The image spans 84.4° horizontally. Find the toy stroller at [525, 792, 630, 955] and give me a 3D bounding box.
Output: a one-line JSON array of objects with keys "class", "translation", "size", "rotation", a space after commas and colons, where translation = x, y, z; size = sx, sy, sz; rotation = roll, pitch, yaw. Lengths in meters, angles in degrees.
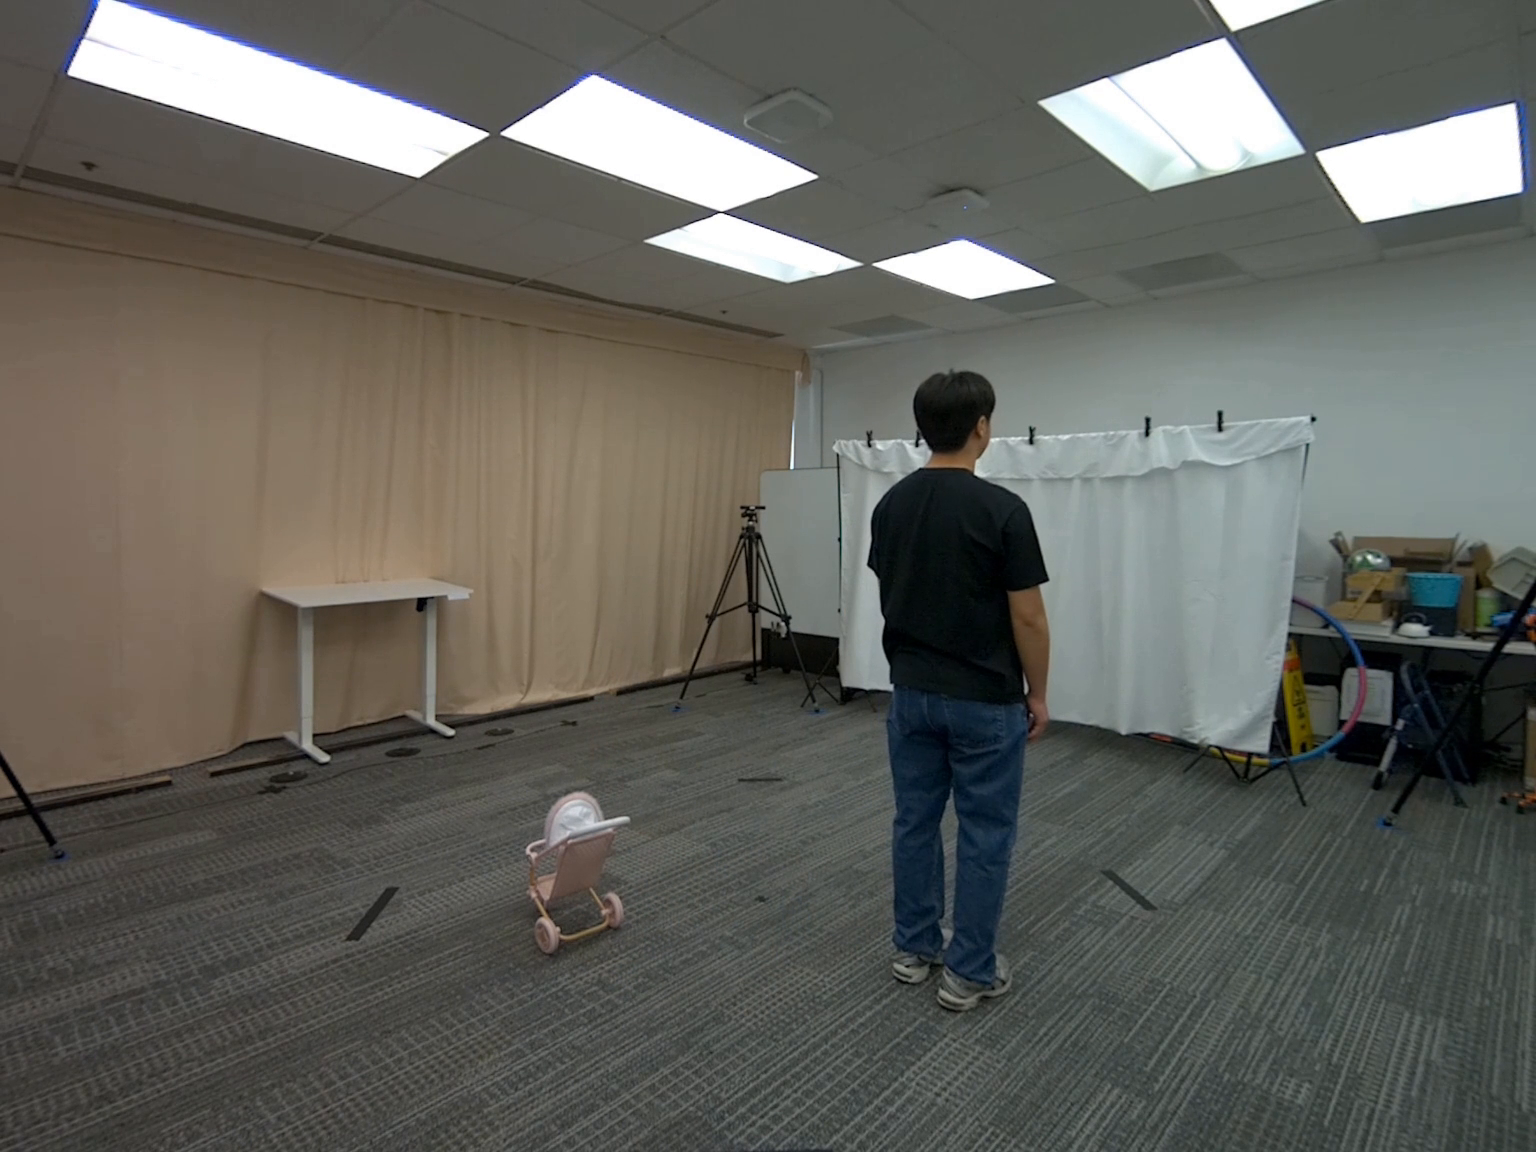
[{"class": "toy stroller", "translation": [-0.644, 0.944, 2.754], "size": [0.273, 0.531, 0.354], "rotation": [-1, 19, -38]}]
